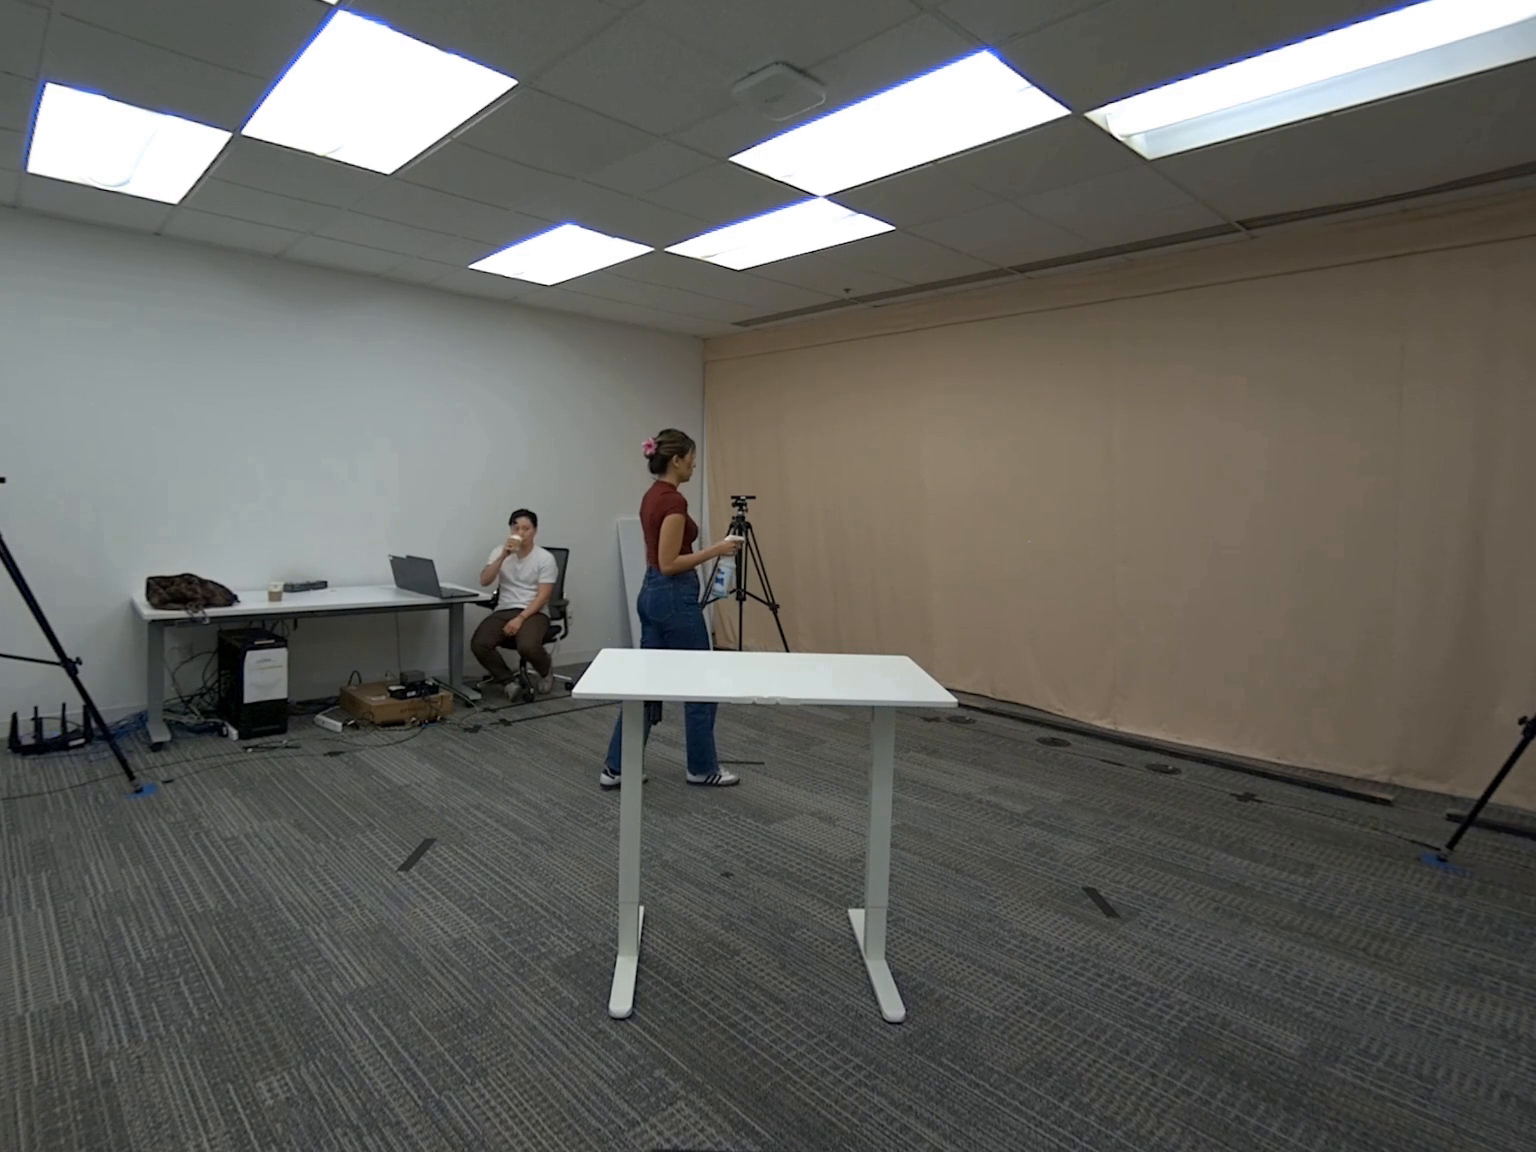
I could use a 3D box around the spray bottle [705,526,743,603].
[{"bbox_3d":[-0.209,-0.048,3.944,0.090,0.297,0.087,15,3,2],"label":"spray bottle"}]
